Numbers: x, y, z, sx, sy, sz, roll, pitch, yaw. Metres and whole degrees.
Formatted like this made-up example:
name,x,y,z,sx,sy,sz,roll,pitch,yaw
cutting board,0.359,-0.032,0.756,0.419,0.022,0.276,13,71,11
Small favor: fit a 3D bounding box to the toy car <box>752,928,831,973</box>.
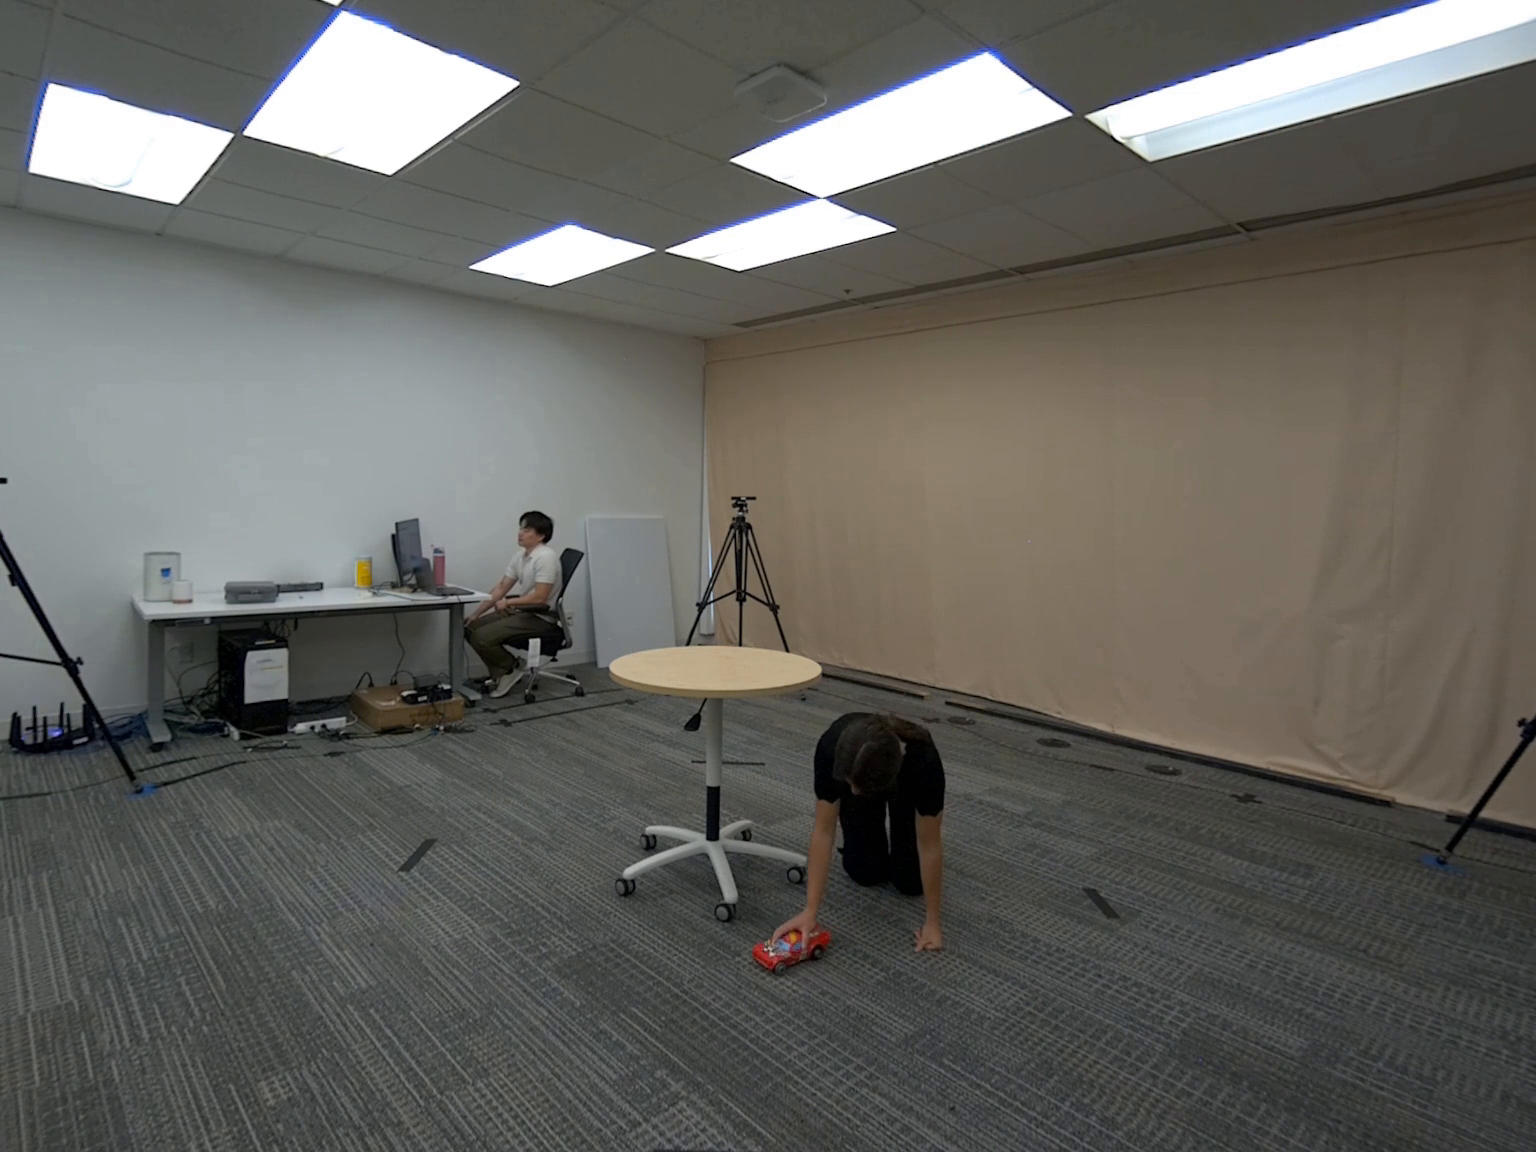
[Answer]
name,x,y,z,sx,sy,sz,roll,pitch,yaw
toy car,0.077,1.134,2.556,0.250,0.082,0.133,-15,13,-35
